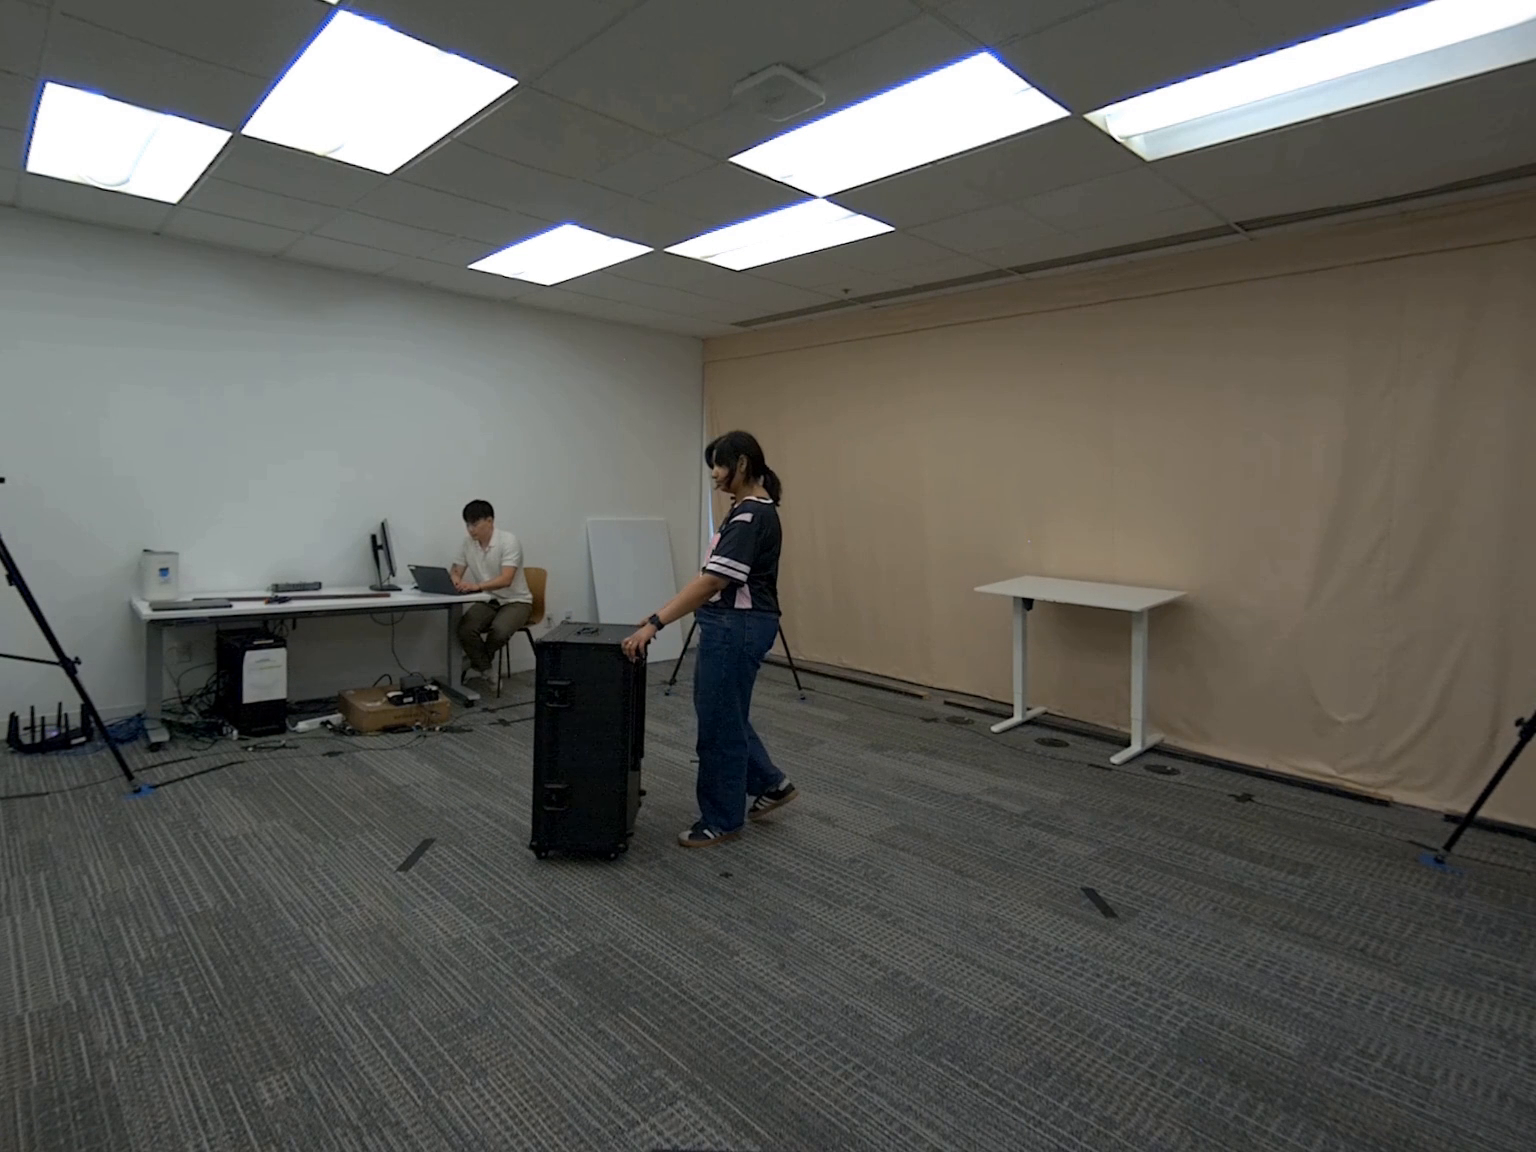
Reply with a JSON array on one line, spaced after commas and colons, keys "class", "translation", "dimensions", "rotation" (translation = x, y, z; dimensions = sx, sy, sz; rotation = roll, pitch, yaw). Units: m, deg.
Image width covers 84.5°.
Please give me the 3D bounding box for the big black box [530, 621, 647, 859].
[{"class": "big black box", "translation": [-0.699, 0.645, 3.340], "dimensions": [0.385, 0.866, 0.525], "rotation": [3, 3, -2]}]
